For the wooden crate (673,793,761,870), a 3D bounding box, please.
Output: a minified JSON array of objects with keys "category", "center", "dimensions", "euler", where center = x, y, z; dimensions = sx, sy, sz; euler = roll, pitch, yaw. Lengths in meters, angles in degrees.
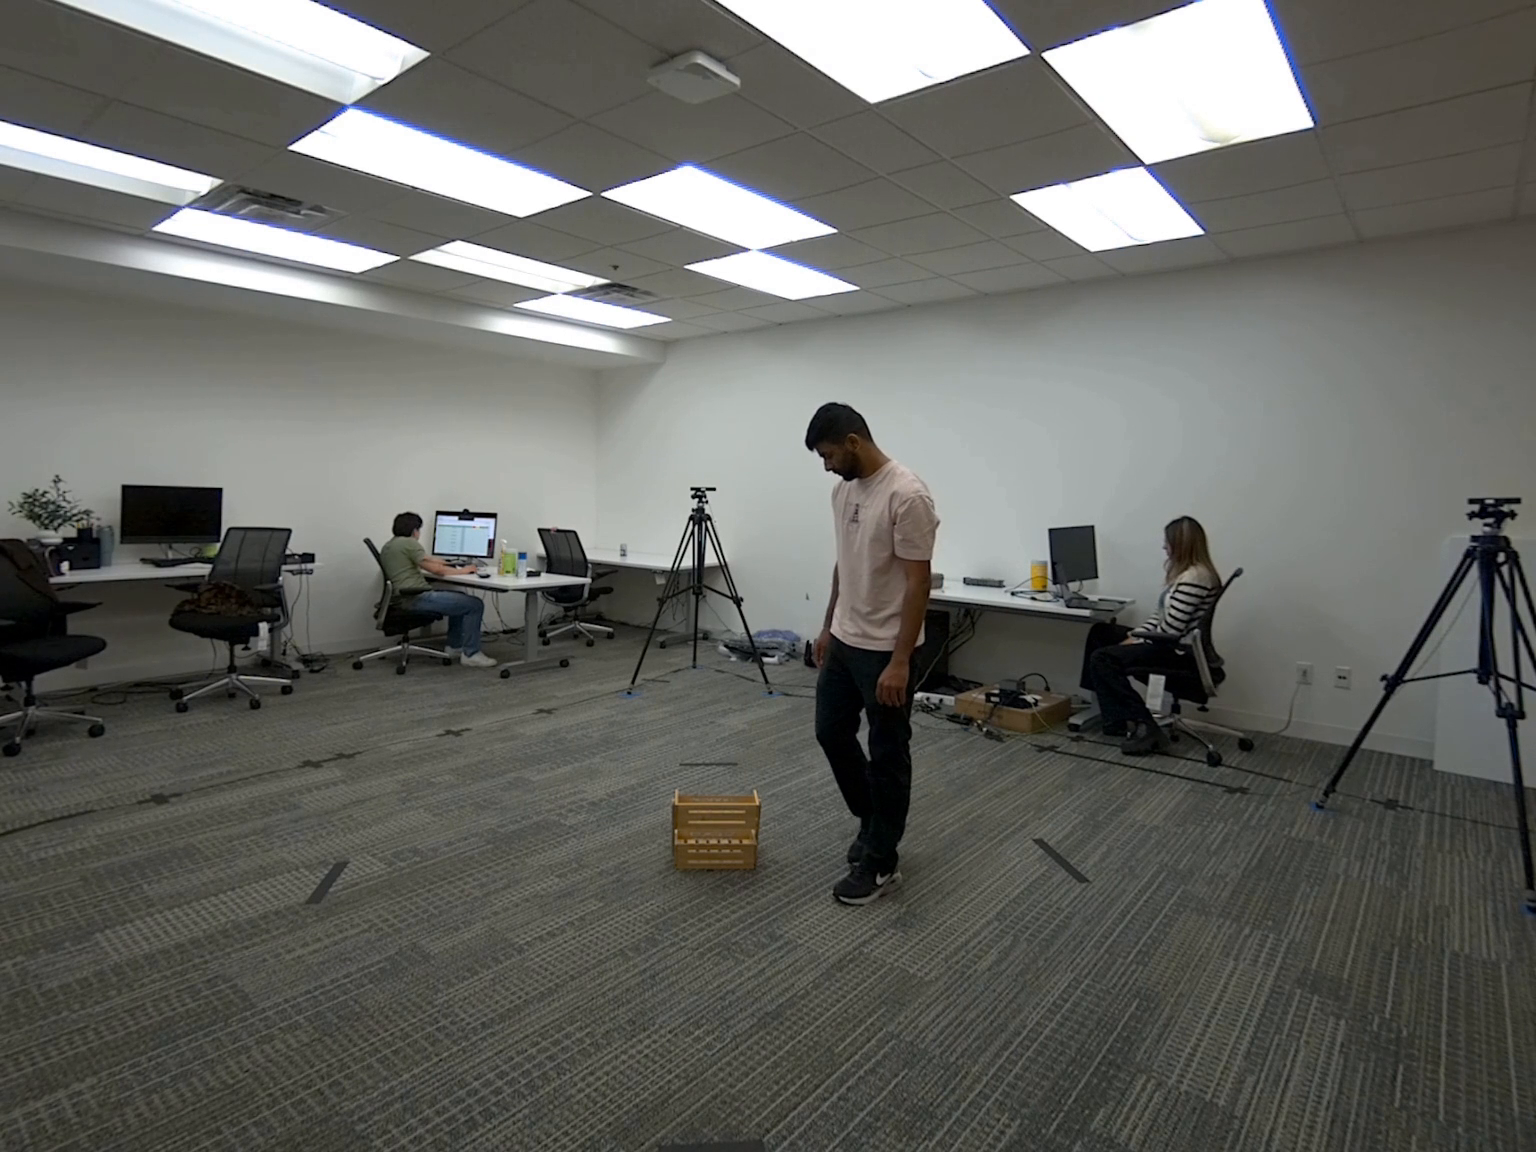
[{"category":"wooden crate","center":[-0.210,0.925,3.201],"dimensions":[0.323,0.272,0.304],"euler":[1,4,-5]}]
